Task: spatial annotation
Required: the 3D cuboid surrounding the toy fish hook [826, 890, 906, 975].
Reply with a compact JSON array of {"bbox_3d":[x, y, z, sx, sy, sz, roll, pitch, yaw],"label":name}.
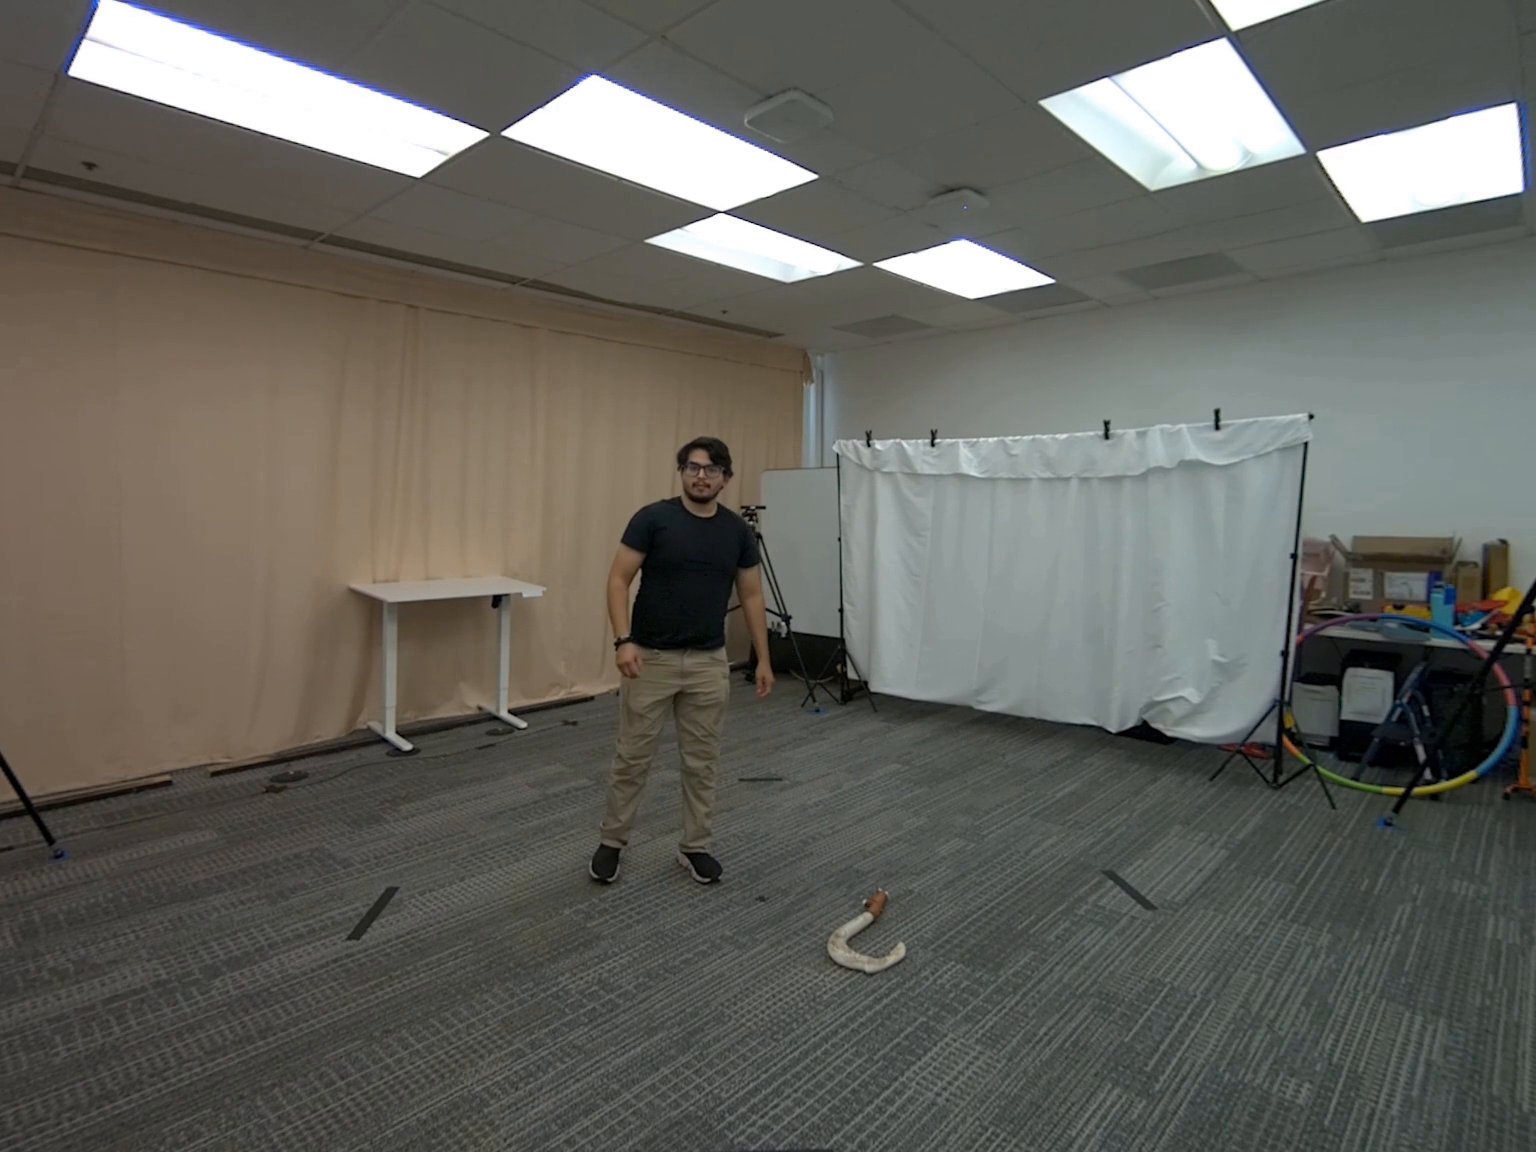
[{"bbox_3d":[0.360,1.147,2.733,0.231,0.048,0.495,9,9,24],"label":"toy fish hook"}]
